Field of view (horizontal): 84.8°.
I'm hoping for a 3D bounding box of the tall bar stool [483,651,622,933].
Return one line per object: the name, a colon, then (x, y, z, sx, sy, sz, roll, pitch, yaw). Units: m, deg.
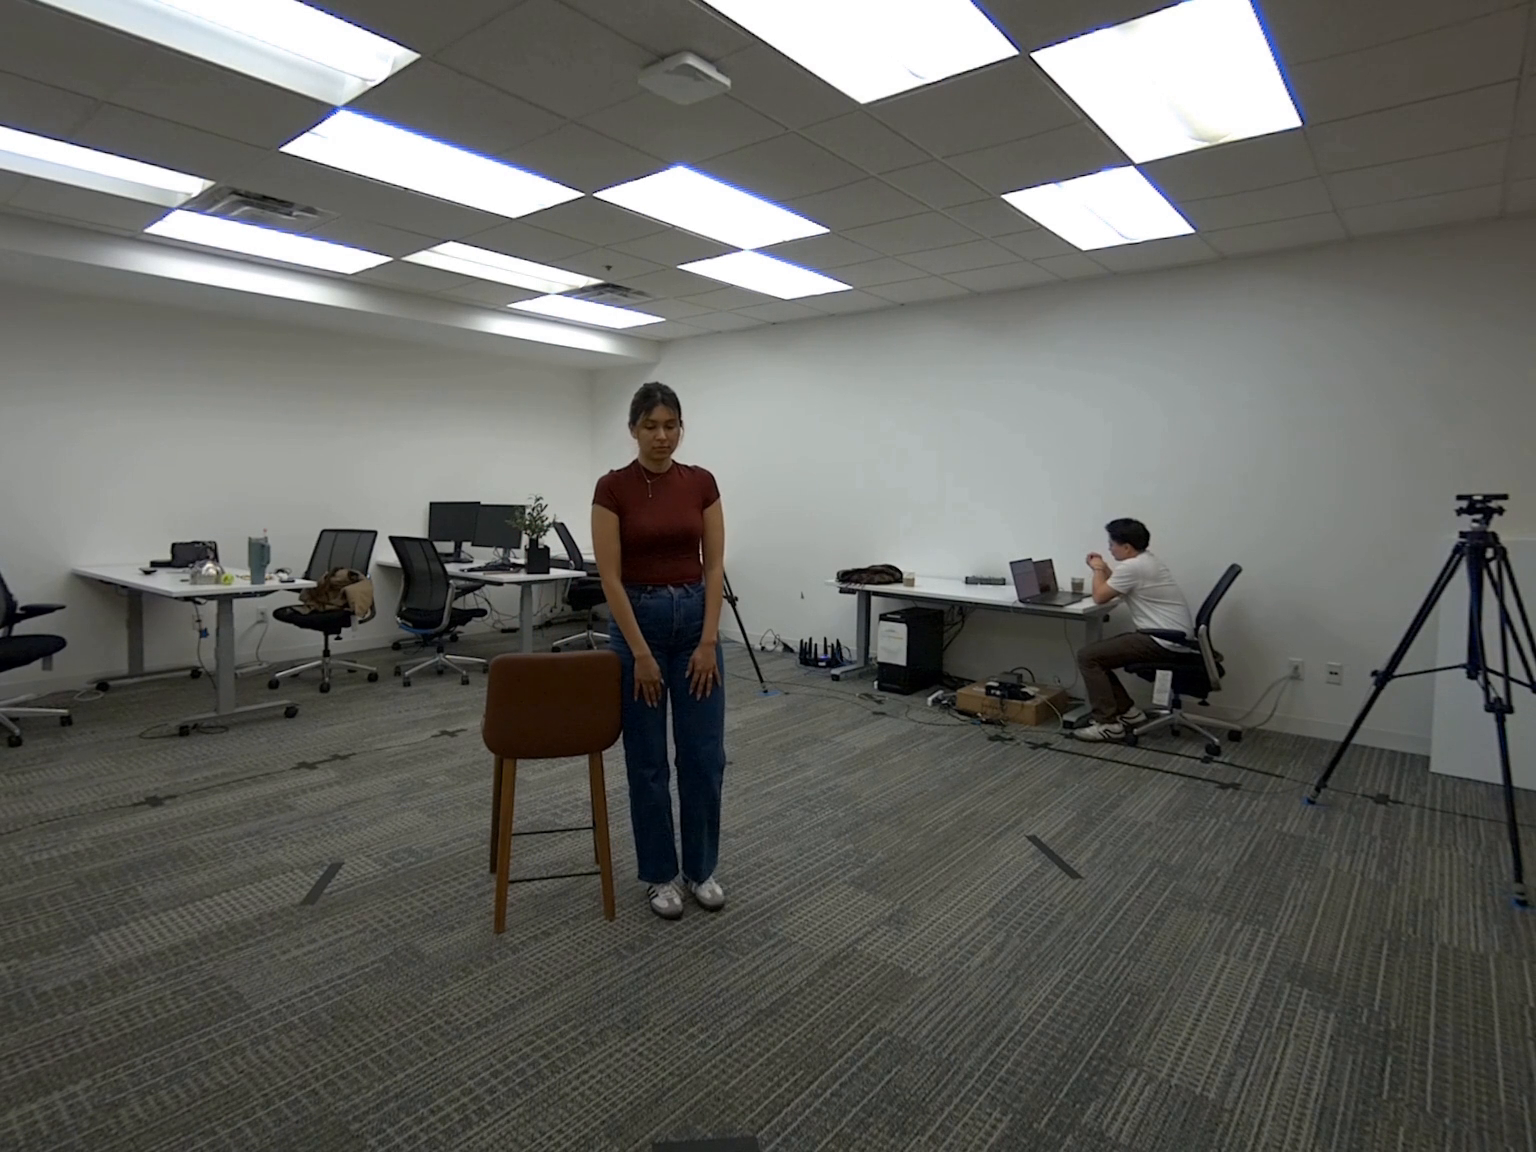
tall bar stool: (-0.746, 0.651, 2.862, 0.449, 0.885, 0.478, -1, 6, -17)
